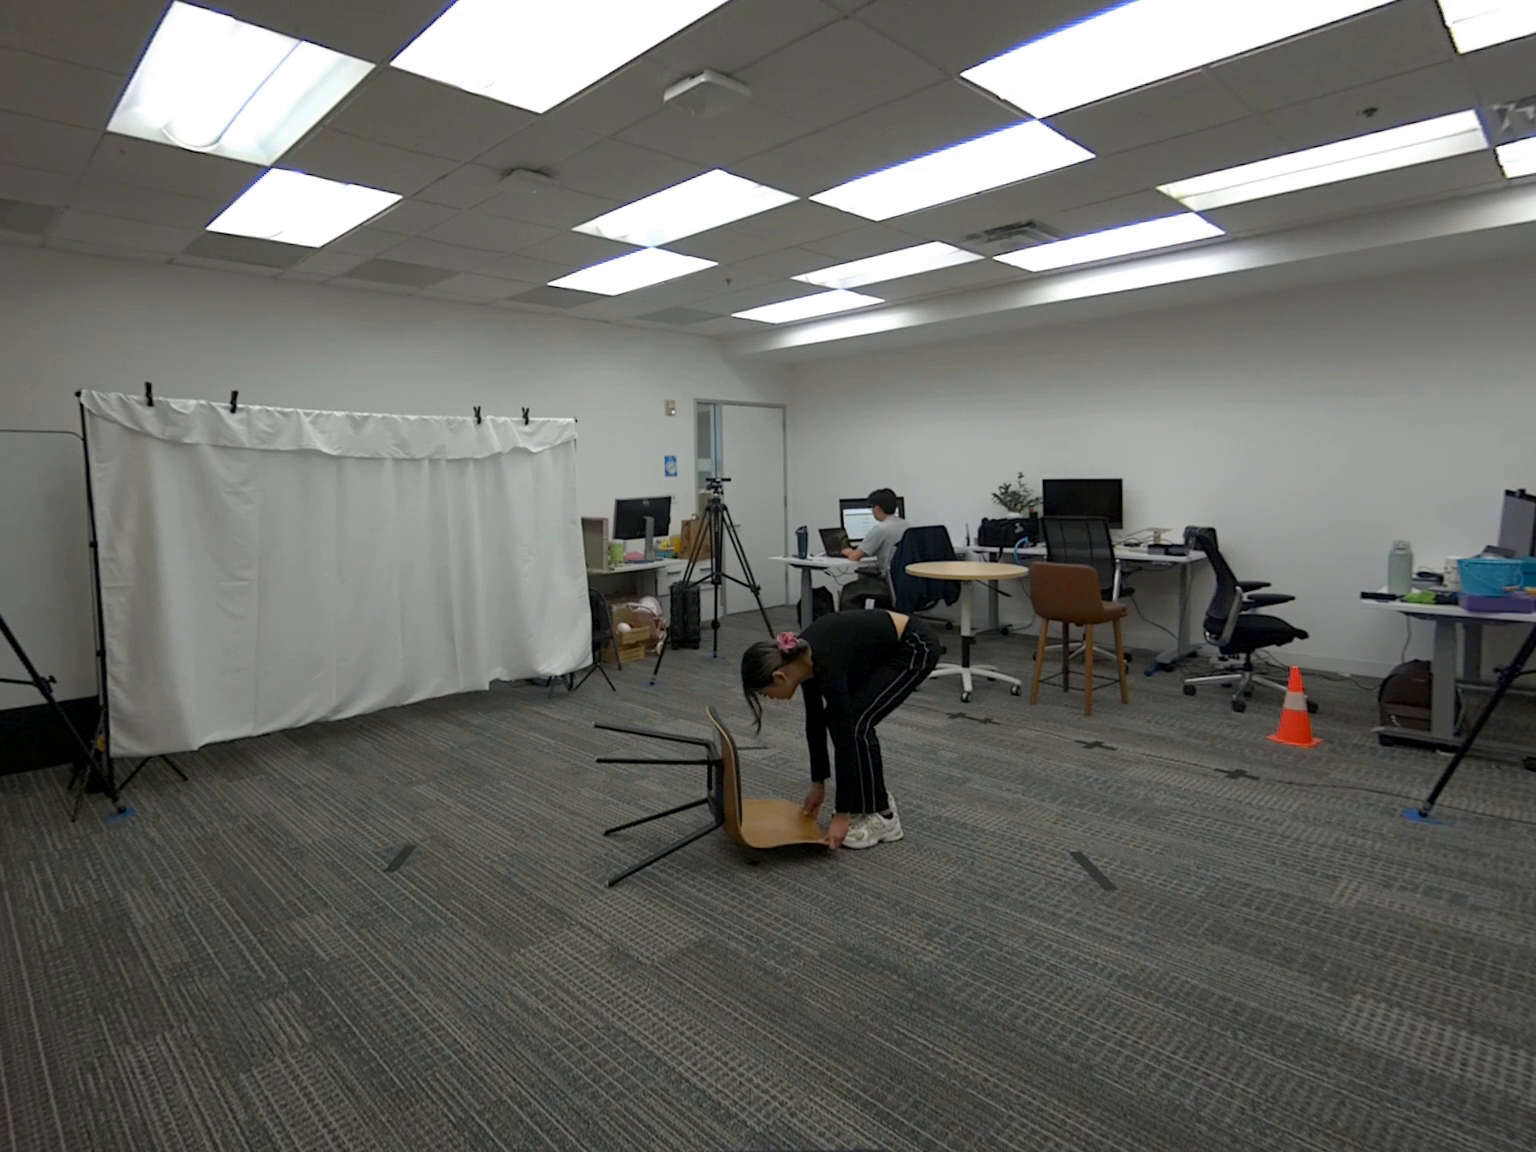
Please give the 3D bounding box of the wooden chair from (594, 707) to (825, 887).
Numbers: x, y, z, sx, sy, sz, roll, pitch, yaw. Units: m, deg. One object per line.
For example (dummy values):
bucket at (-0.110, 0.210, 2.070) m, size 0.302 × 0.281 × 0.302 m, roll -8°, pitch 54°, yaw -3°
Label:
wooden chair at (-0.197, 0.767, 3.210) m, size 0.869 × 0.521 × 0.485 m, roll -1°, pitch 5°, yaw -10°
